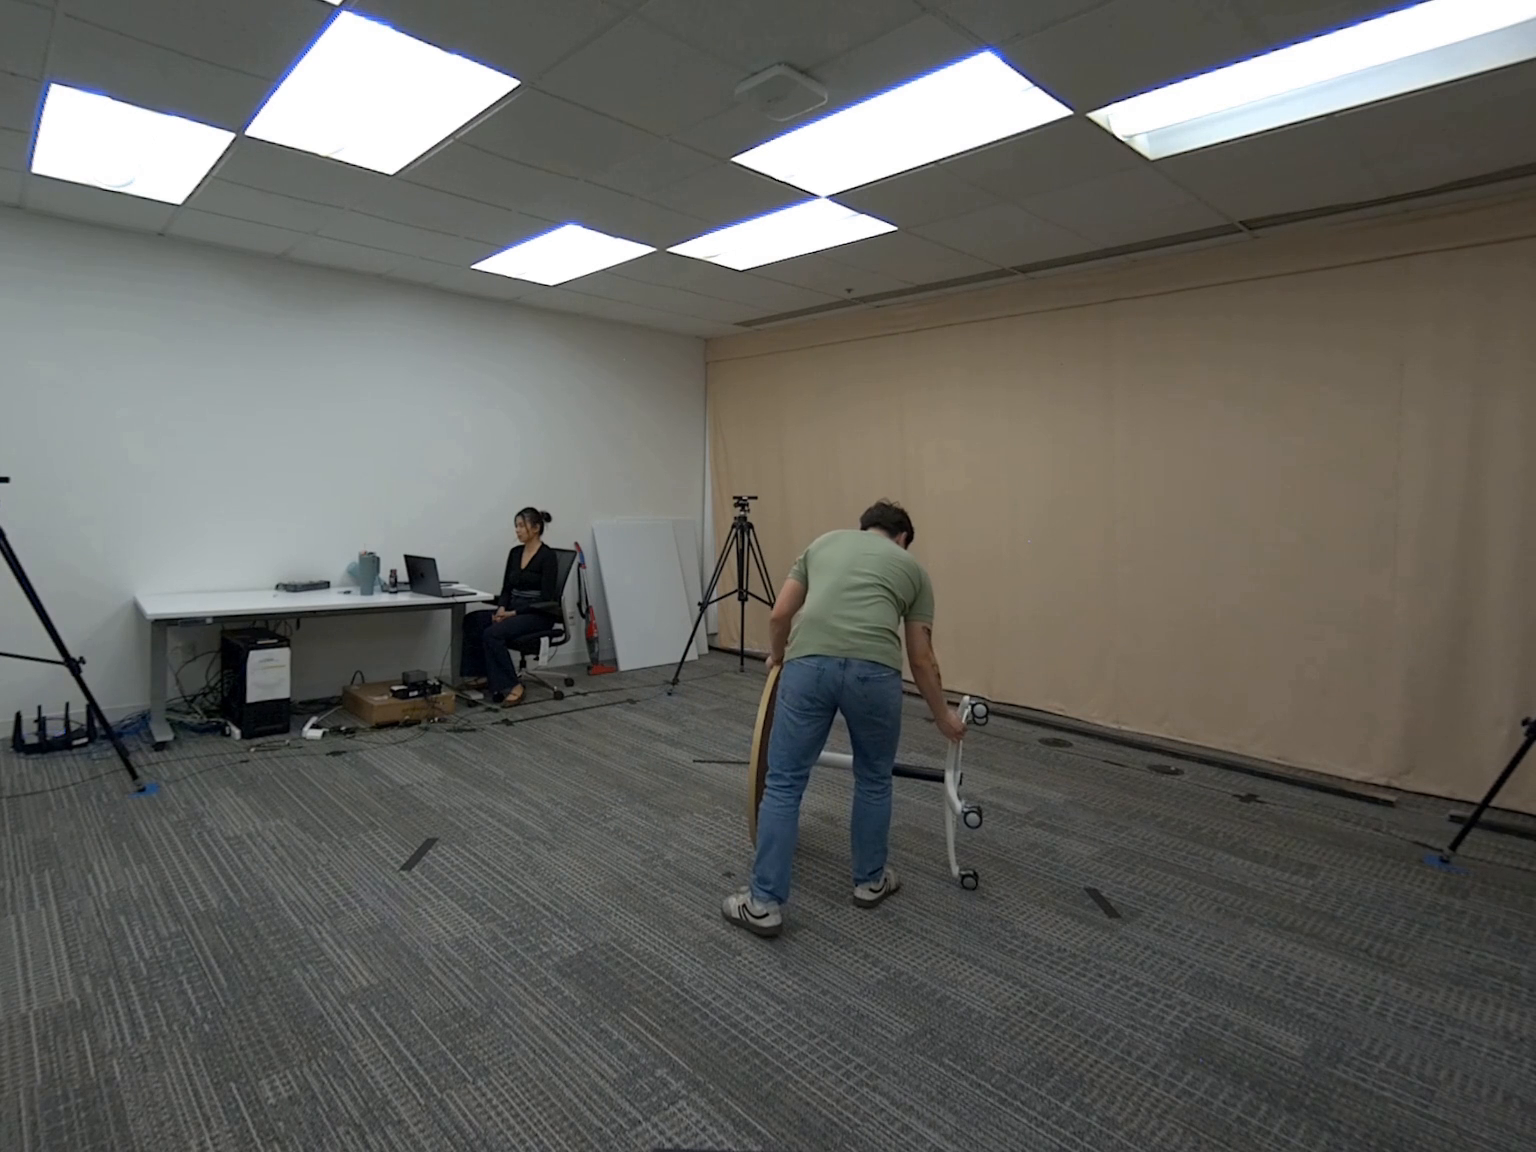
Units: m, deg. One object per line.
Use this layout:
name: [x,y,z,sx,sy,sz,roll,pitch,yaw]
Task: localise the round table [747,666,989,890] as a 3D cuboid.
round table: [0.406,0.736,3.240,0.805,0.761,0.756,5,5,16]
